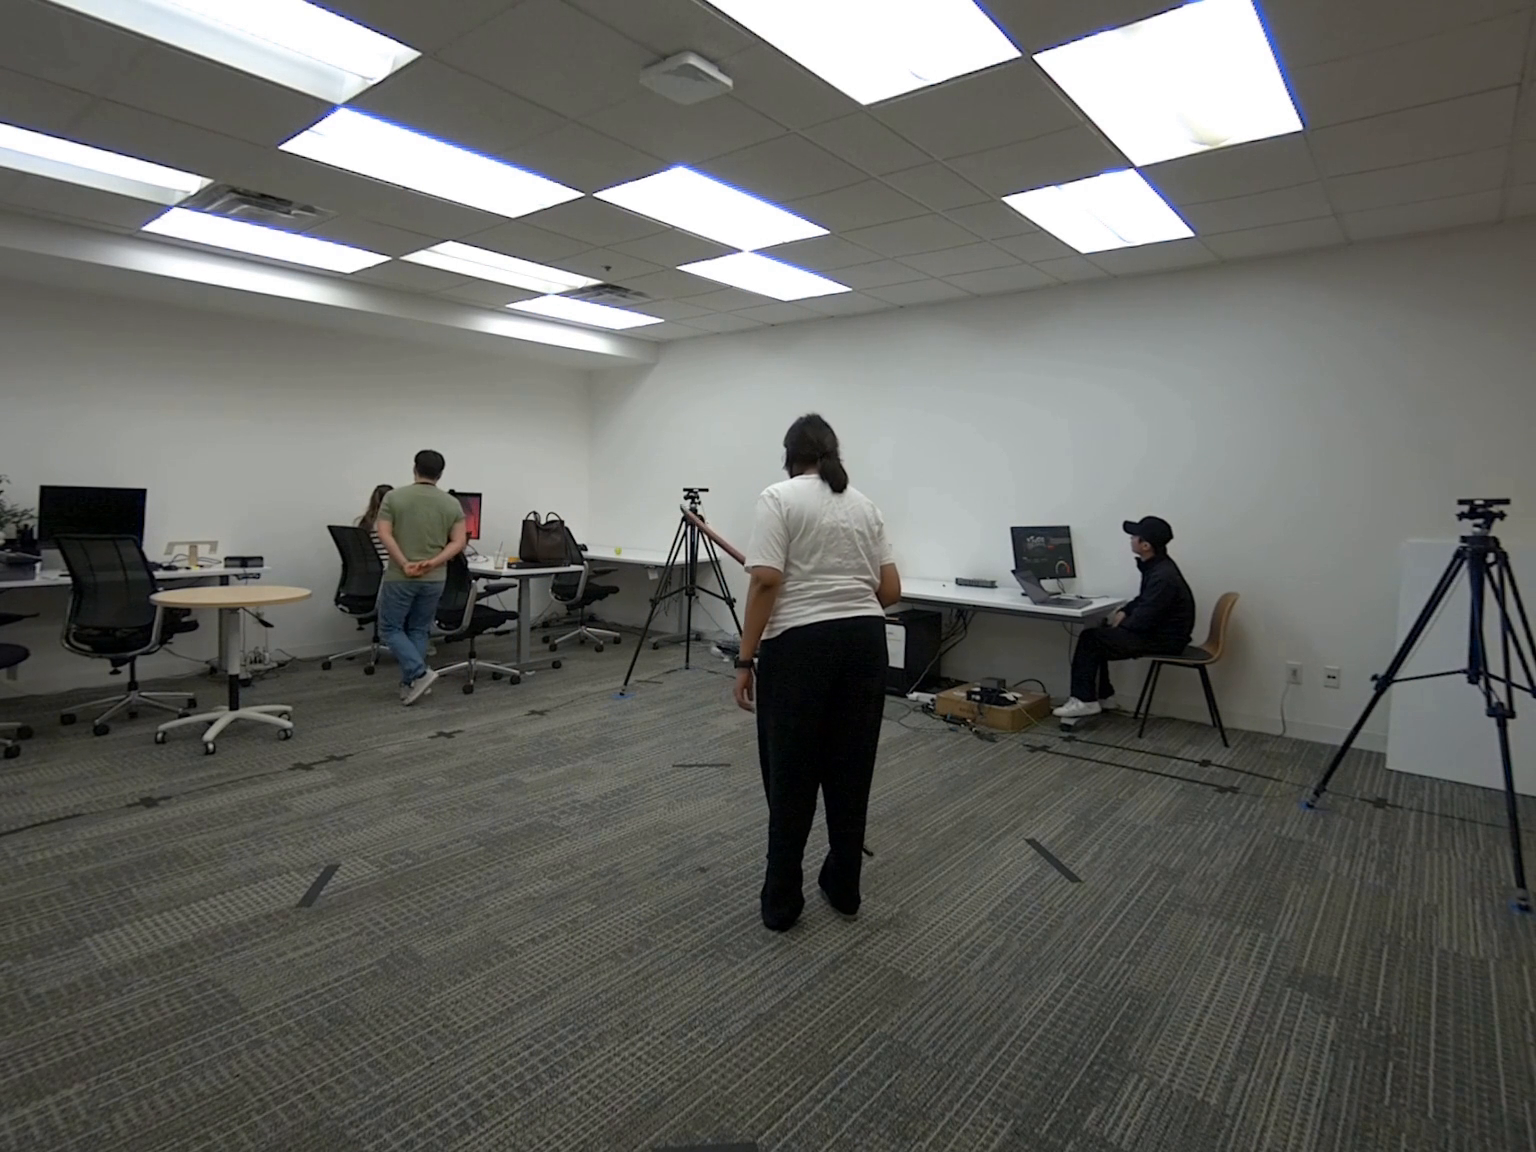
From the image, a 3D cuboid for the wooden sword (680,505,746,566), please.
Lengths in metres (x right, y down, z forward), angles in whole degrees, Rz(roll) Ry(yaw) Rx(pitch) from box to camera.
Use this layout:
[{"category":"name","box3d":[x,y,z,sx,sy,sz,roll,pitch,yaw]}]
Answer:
[{"category":"wooden sword","box3d":[-0.092,-0.062,3.386,0.050,0.023,1.069,-20,39,-25]}]
